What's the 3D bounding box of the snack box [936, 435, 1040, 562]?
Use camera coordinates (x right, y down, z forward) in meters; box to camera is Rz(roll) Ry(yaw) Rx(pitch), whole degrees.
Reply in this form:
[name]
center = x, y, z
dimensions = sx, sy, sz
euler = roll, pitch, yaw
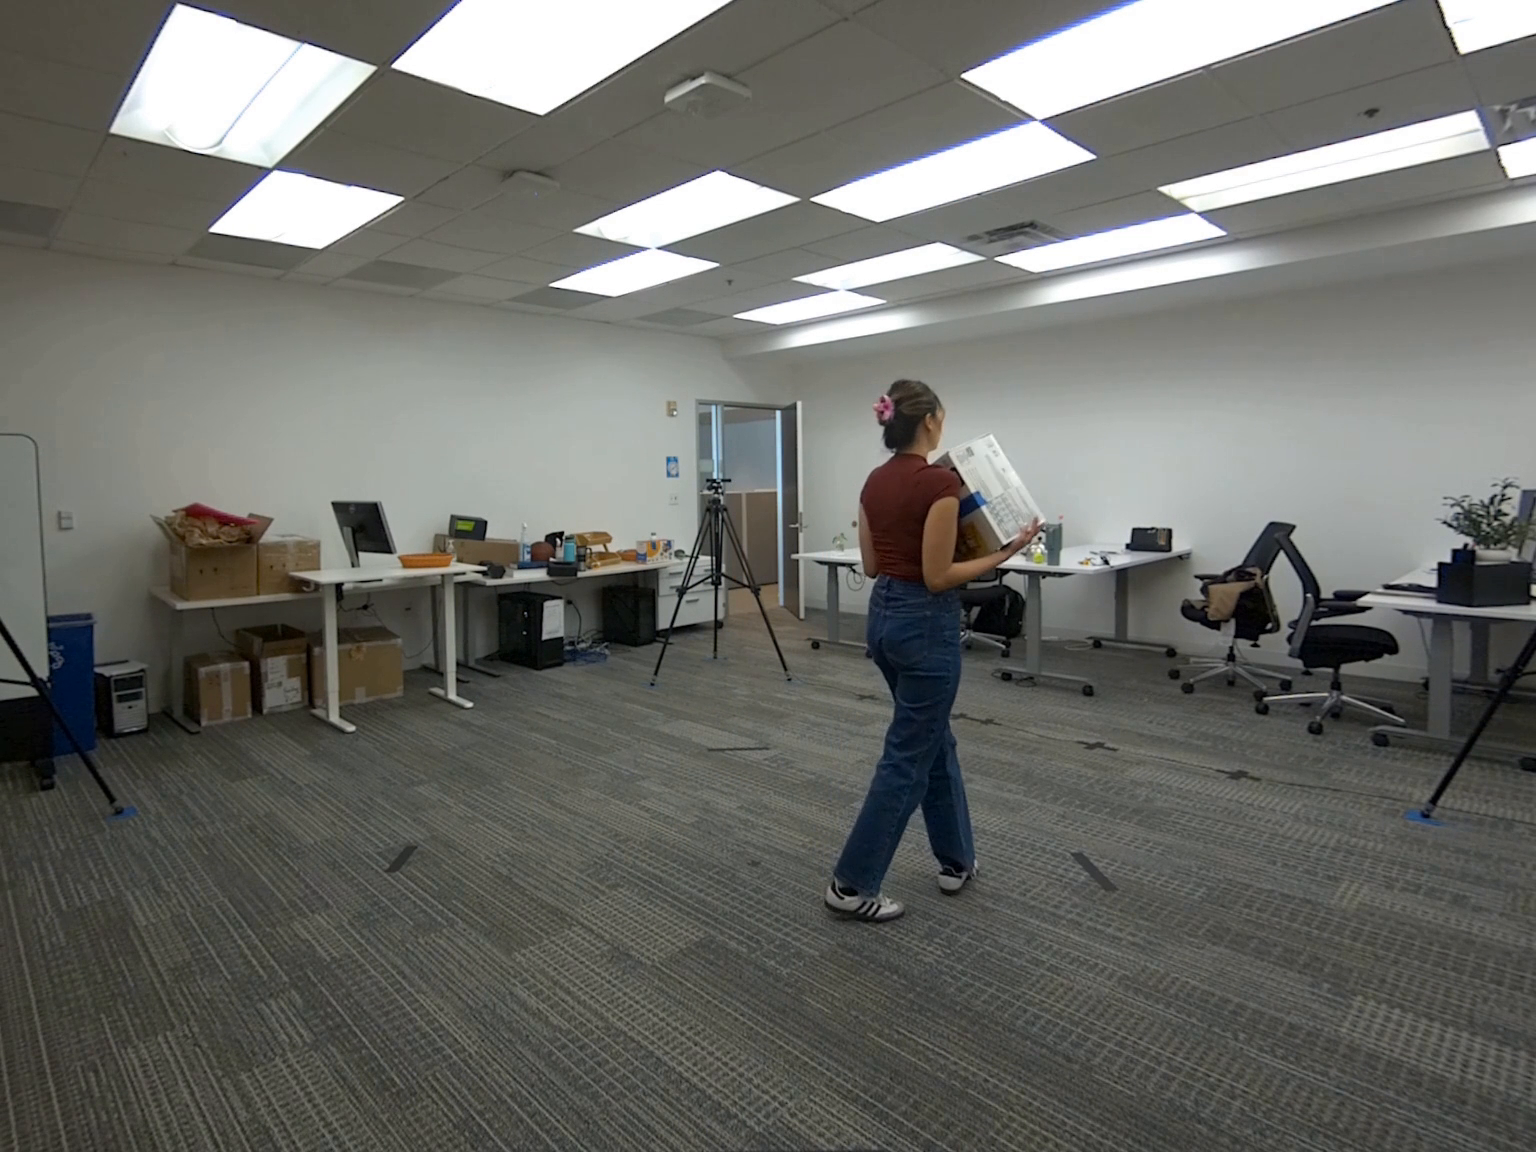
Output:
[snack box]
center = 0.643, -0.221, 2.868
dimensions = 0.203, 0.344, 0.405
euler = -24, -8, -26
